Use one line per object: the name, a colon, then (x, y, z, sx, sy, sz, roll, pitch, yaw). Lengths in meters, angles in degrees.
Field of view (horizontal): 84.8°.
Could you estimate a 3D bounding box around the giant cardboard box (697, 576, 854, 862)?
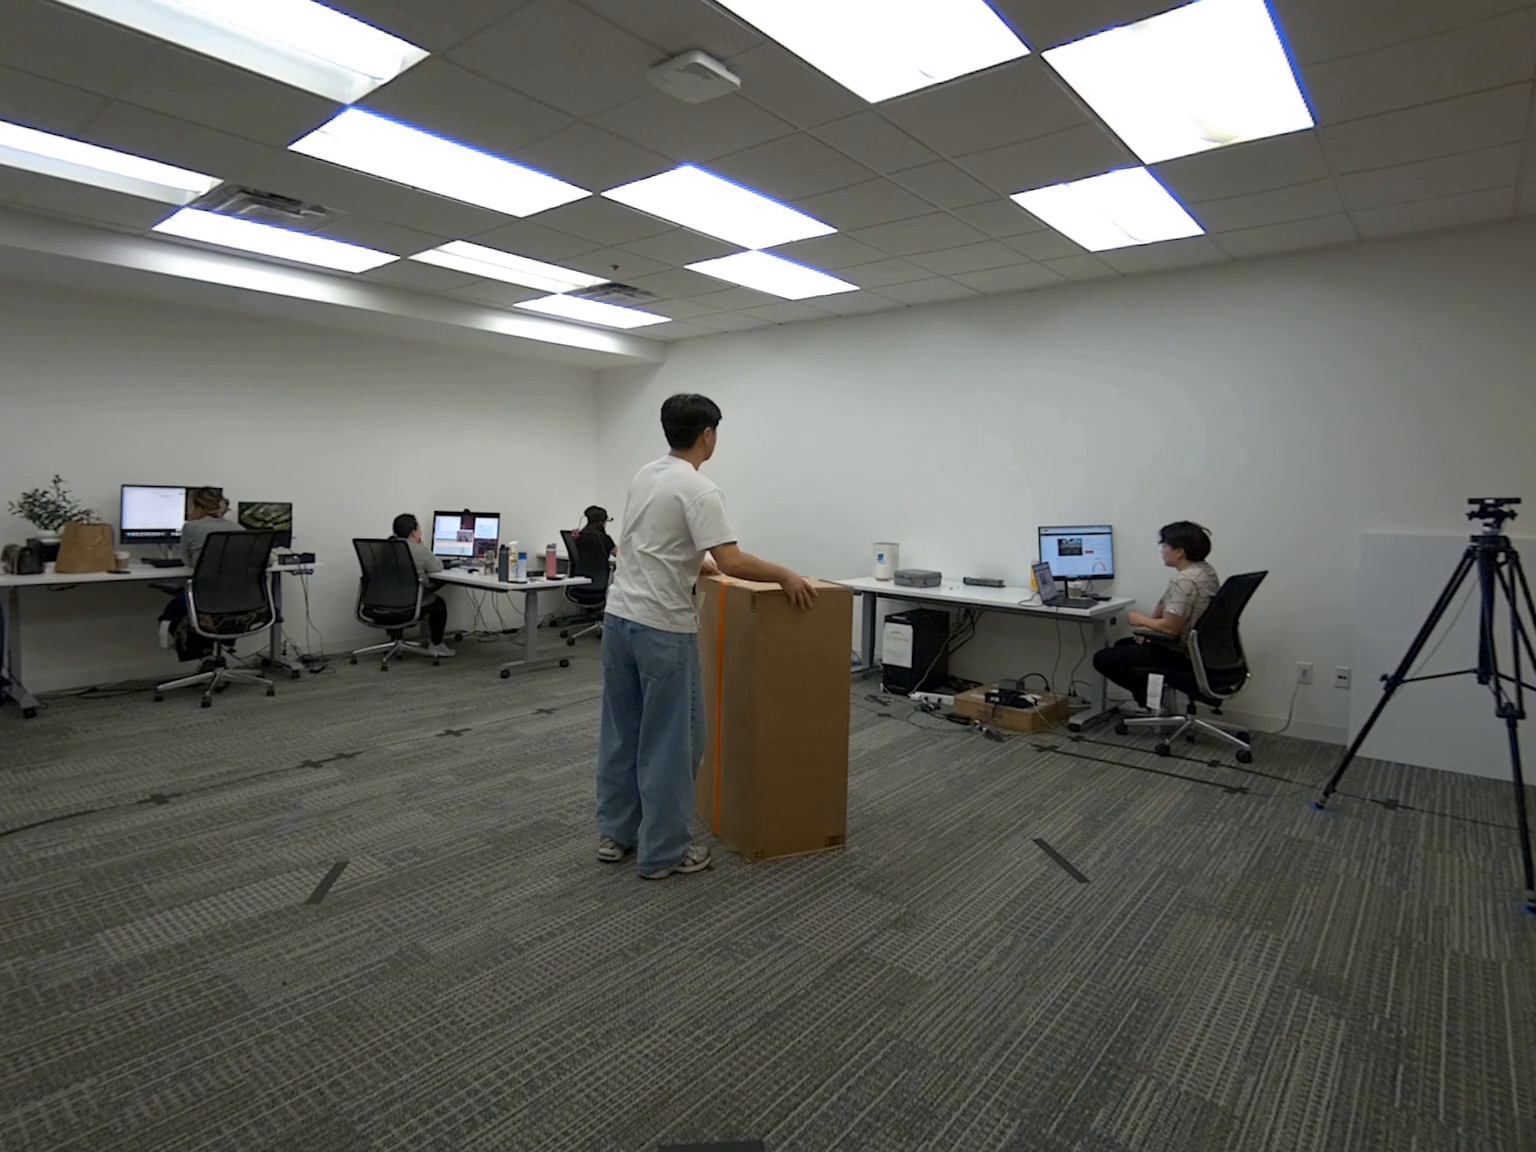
giant cardboard box: (-0.008, 0.523, 3.463, 0.416, 1.023, 0.594, 0, 4, -26)
